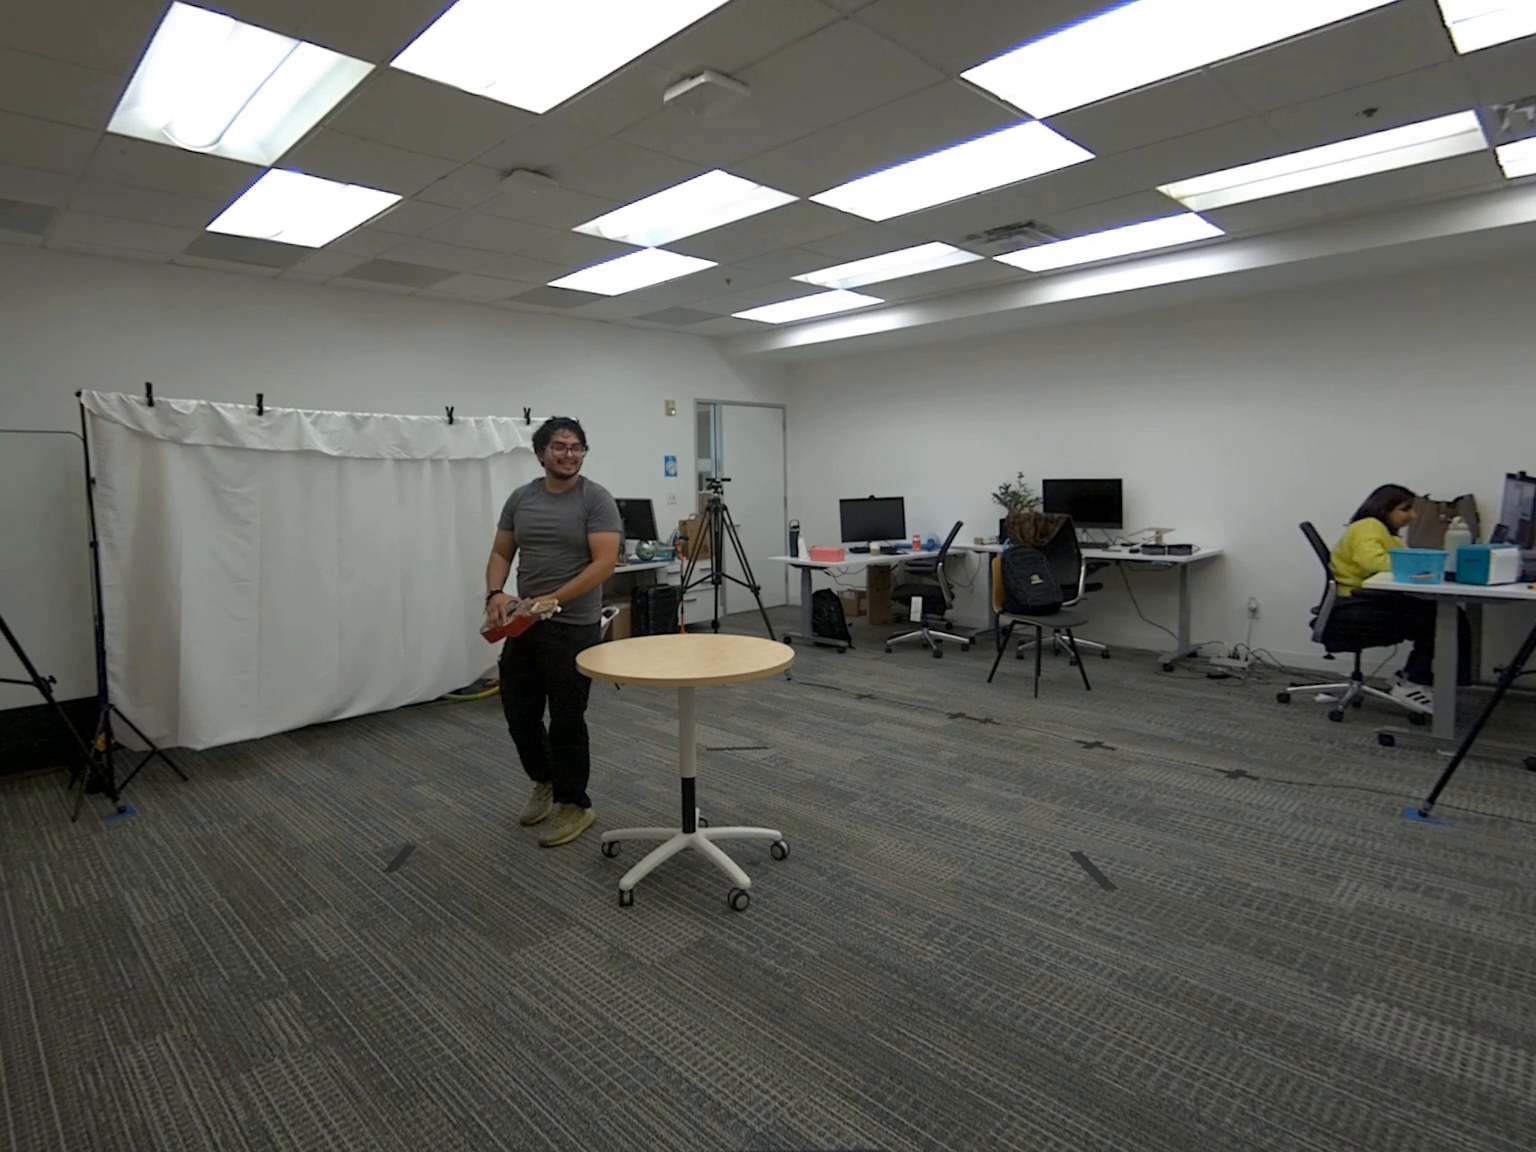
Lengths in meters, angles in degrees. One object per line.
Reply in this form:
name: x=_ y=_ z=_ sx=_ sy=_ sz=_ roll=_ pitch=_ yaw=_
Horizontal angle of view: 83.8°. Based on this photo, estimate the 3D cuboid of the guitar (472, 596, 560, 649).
guitar: x=-0.903 y=0.166 z=3.099 sx=0.510 sy=0.069 sz=0.193 roll=-2 pitch=43 yaw=55
